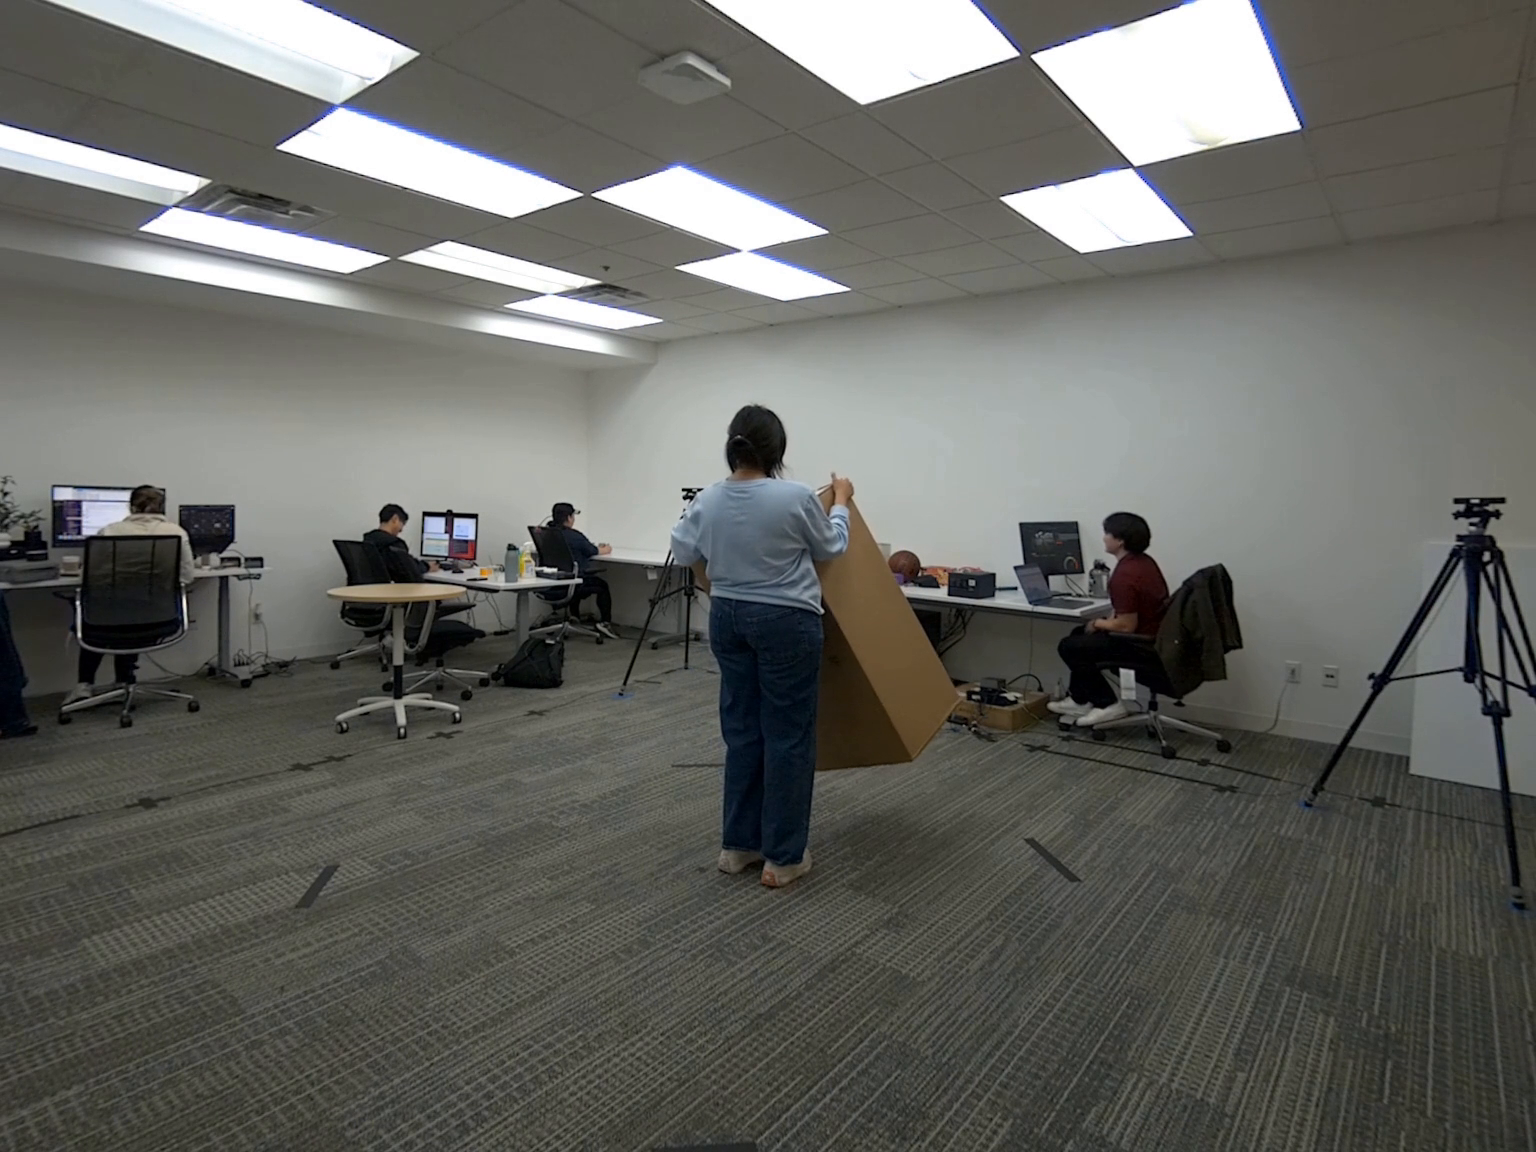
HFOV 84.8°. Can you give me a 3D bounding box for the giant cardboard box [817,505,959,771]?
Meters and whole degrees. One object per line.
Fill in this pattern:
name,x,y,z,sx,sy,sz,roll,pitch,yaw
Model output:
giant cardboard box,0.217,0.220,3.452,0.594,1.021,0.441,-23,7,47
